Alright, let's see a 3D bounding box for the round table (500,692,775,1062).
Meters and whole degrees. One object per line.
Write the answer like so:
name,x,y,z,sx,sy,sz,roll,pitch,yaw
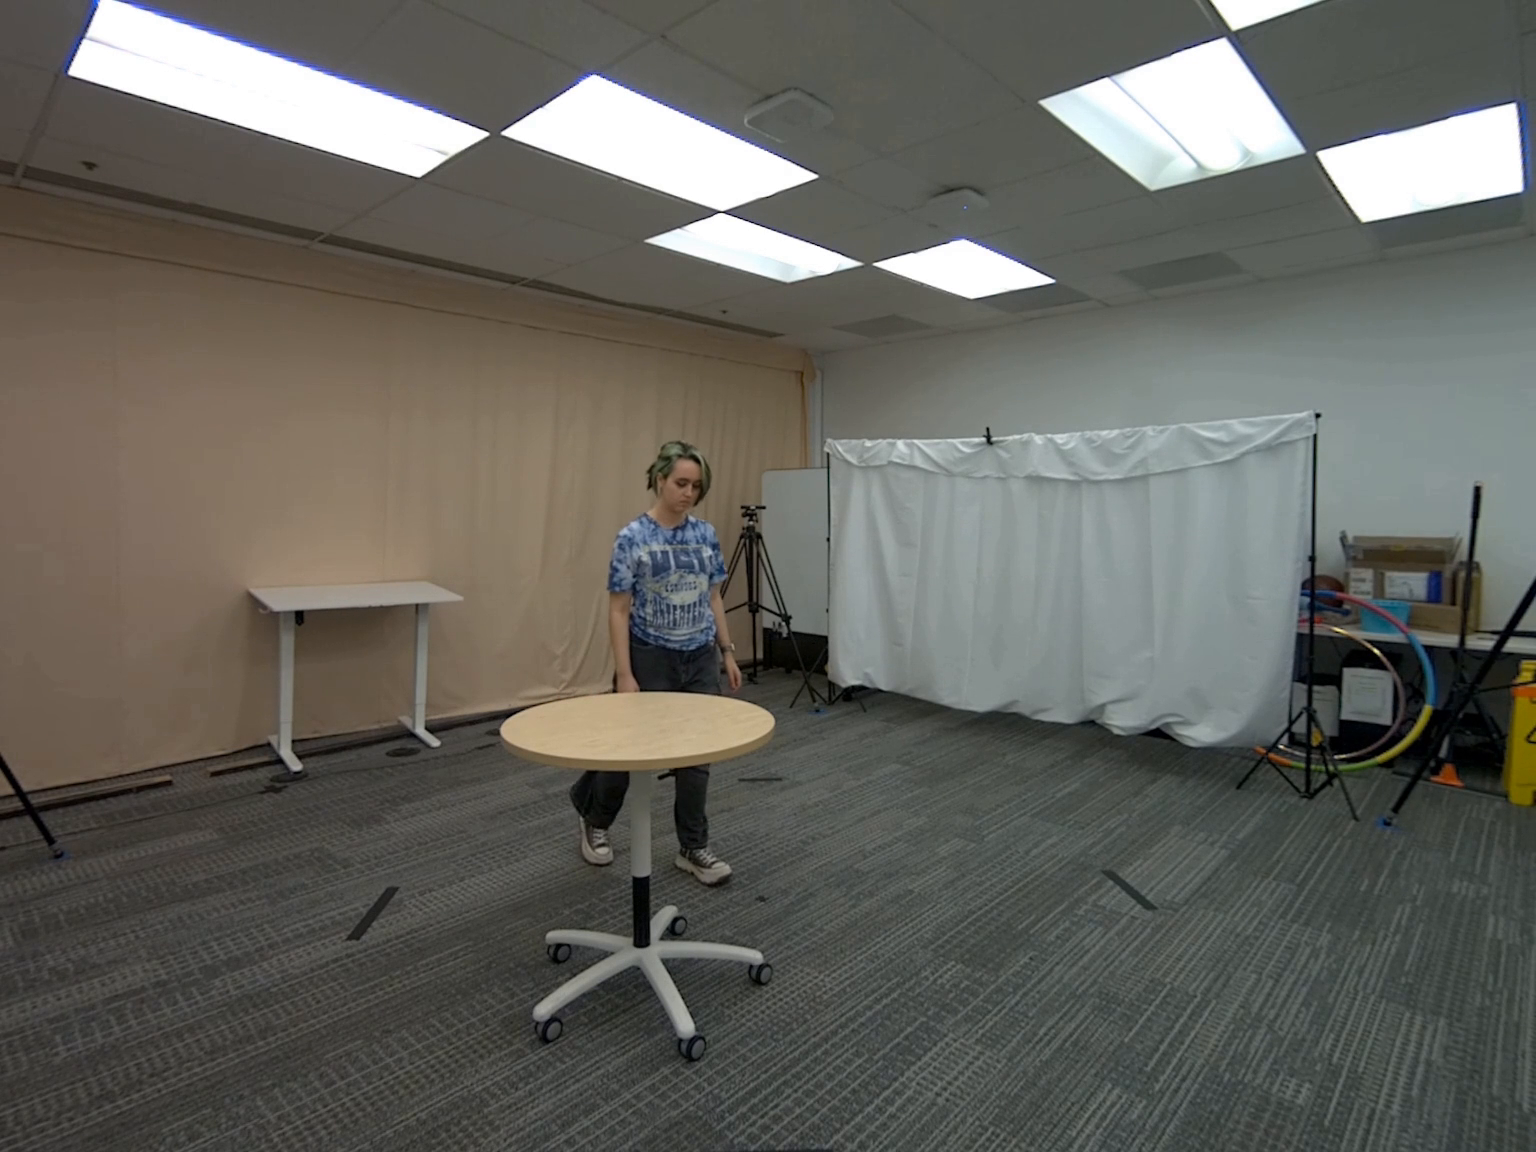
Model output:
round table,-0.360,0.805,2.397,0.763,0.792,0.766,-1,3,-2
